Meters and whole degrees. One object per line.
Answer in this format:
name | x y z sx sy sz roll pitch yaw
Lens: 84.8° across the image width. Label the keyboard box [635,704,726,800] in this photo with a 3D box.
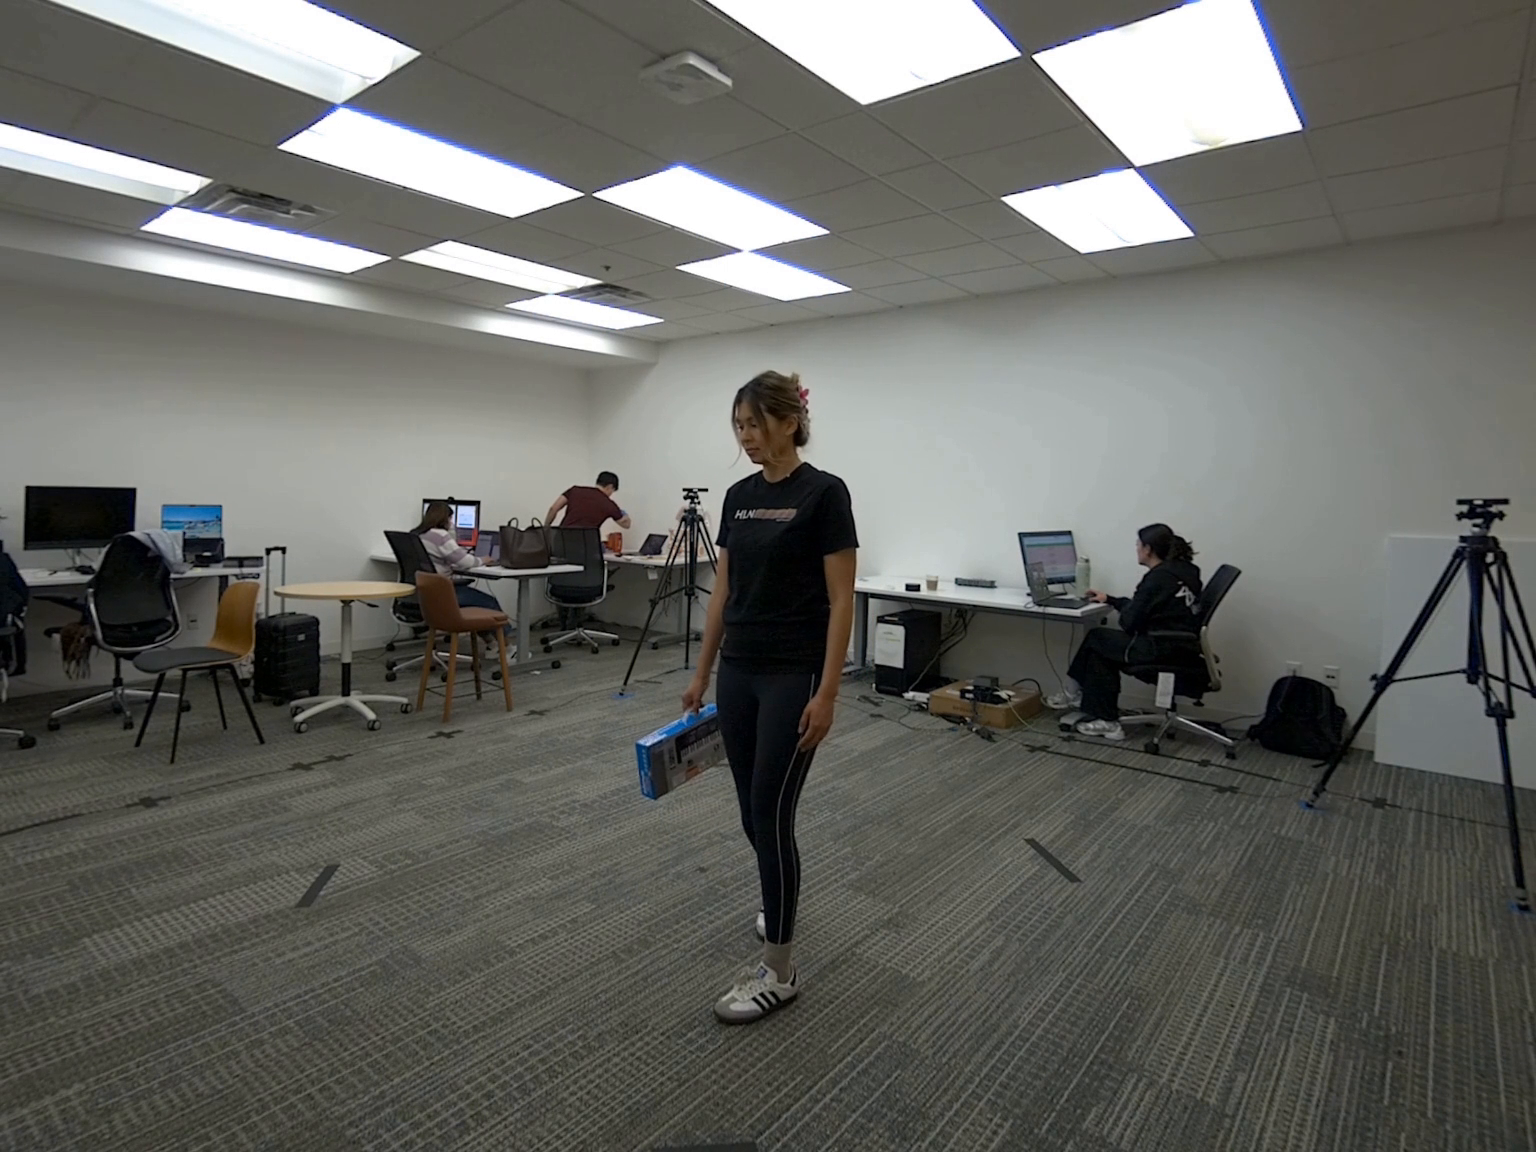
keyboard box | -0.225 0.516 2.621 0.061 0.174 0.428 5 18 42
